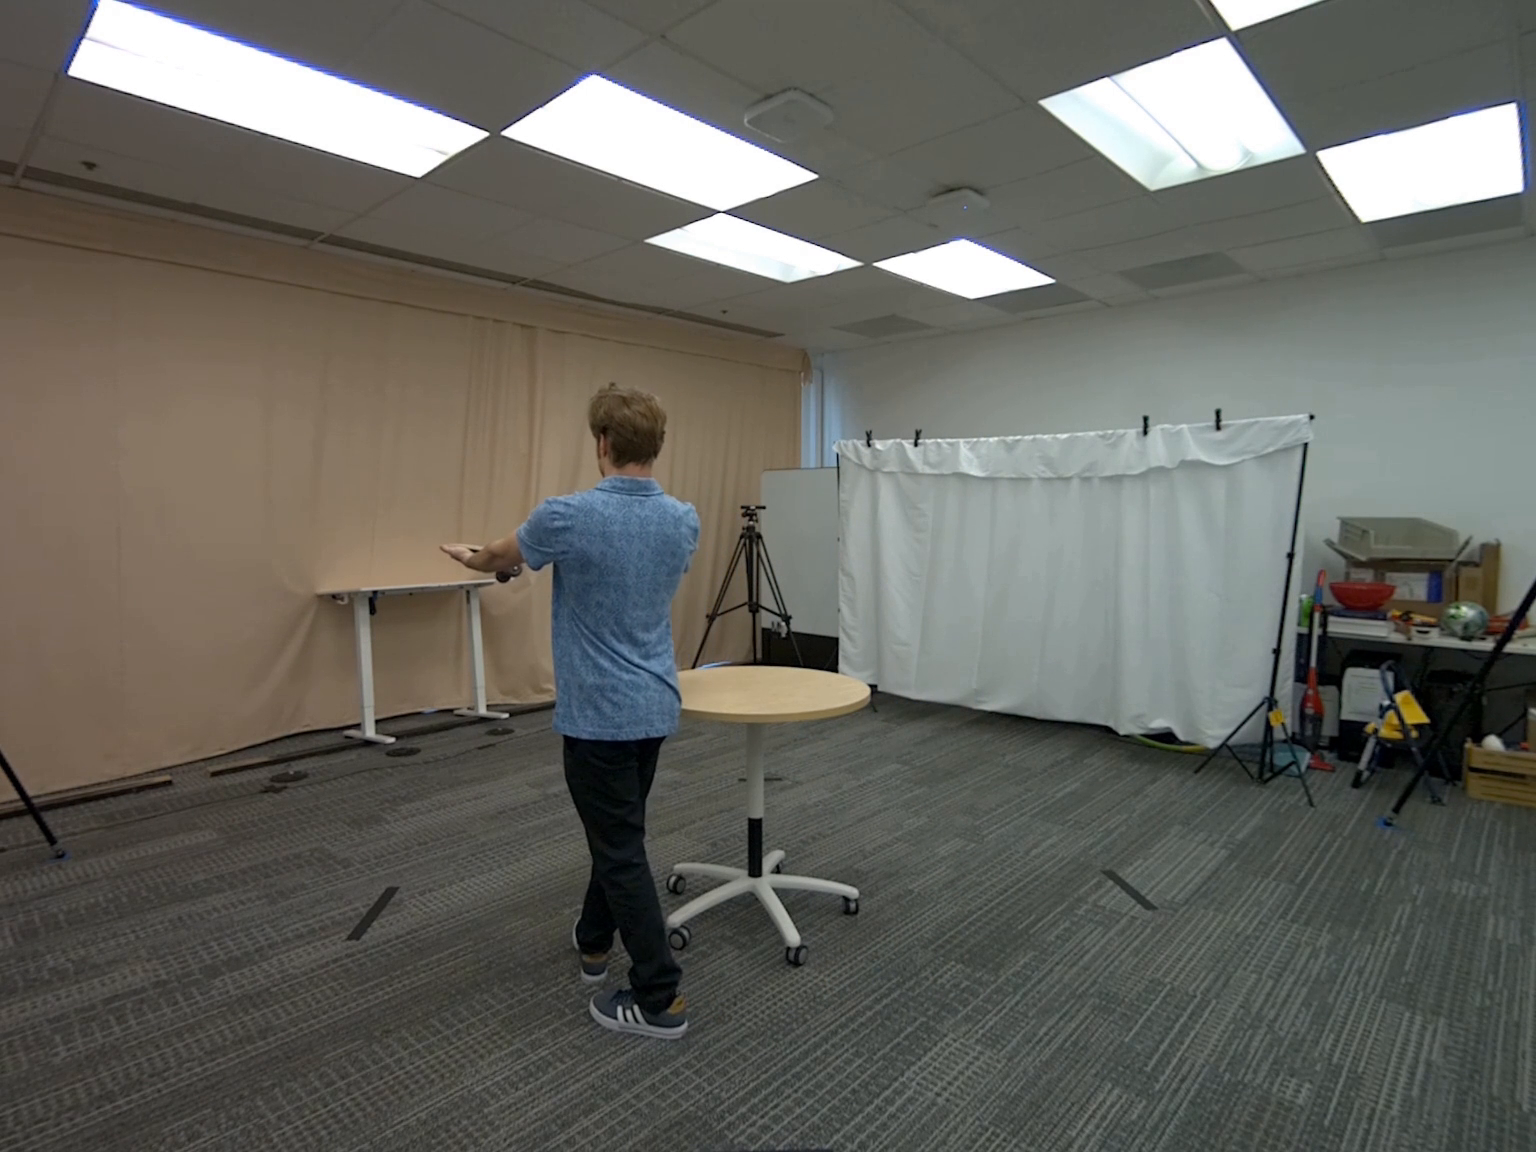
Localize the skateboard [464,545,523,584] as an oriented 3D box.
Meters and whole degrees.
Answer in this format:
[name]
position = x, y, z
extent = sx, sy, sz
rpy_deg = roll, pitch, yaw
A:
[skateboard]
position = -0.679, -0.043, 2.783
extent = 0.765, 0.111, 0.197
rpy_deg = 0, -10, -27
